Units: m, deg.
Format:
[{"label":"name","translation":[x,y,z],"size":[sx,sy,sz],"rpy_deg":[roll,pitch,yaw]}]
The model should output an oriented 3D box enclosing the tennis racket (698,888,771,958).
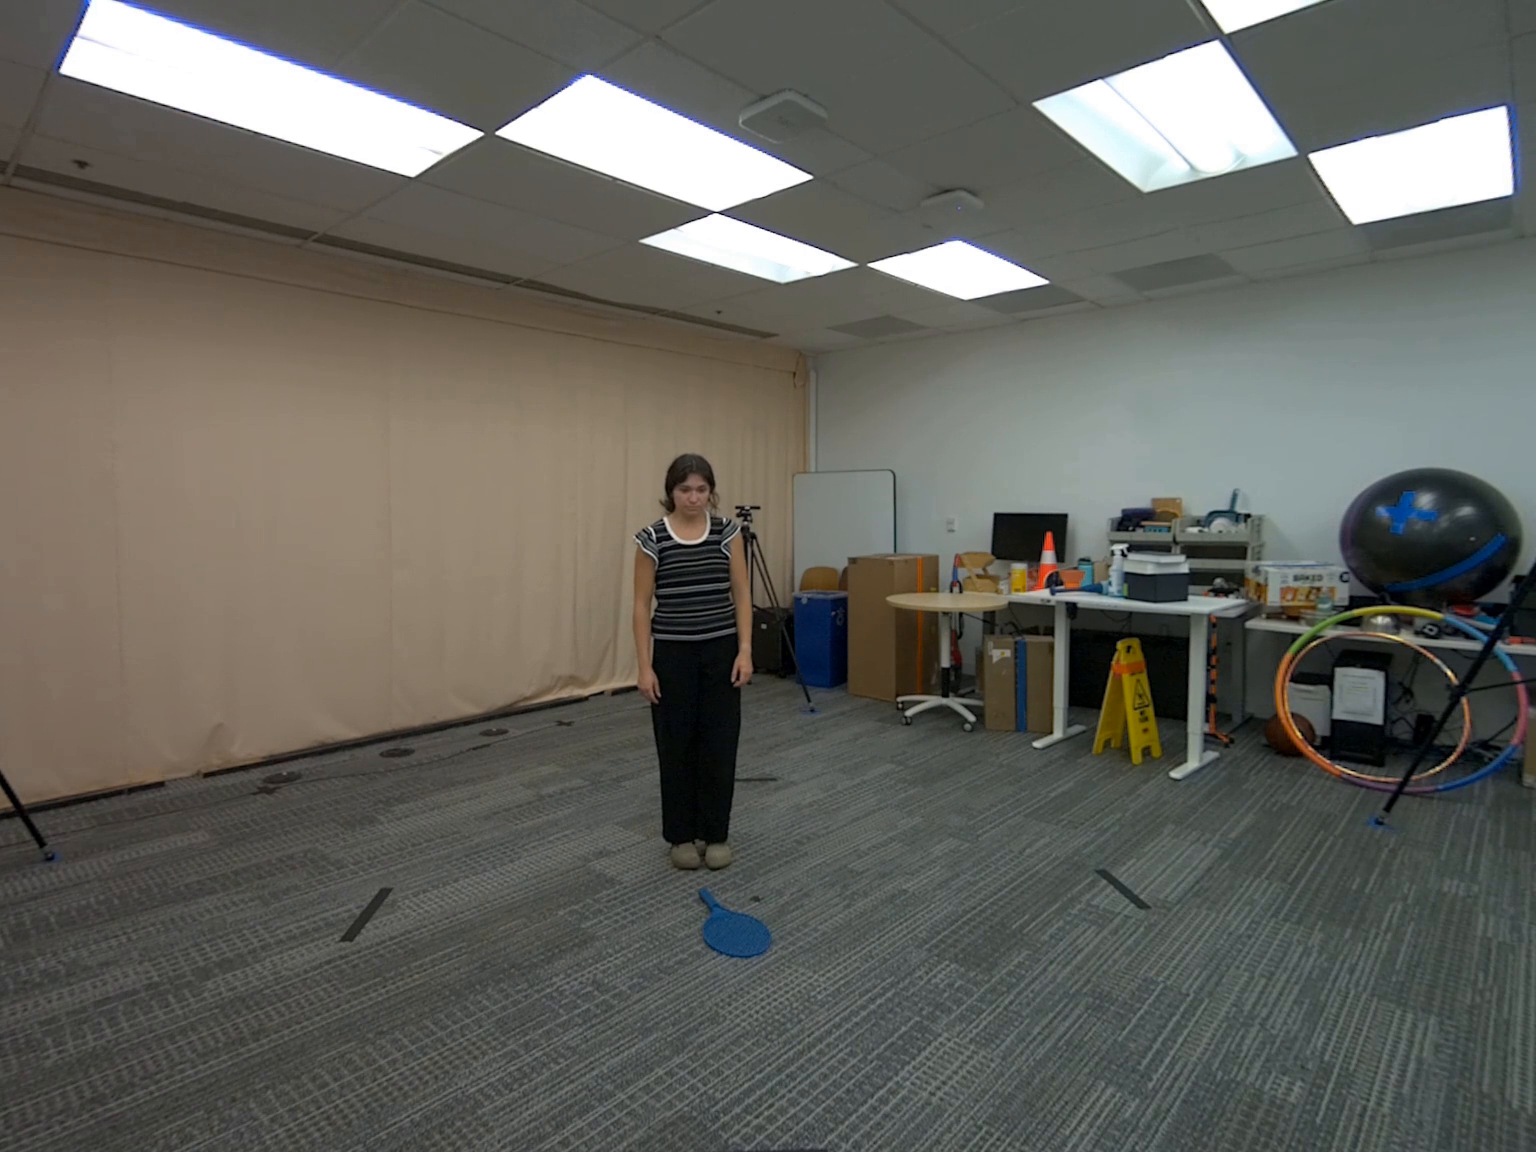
[{"label":"tennis racket","translation":[-0.131,1.145,2.799],"size":[0.209,0.031,0.444],"rpy_deg":[-2,6,-24]}]
